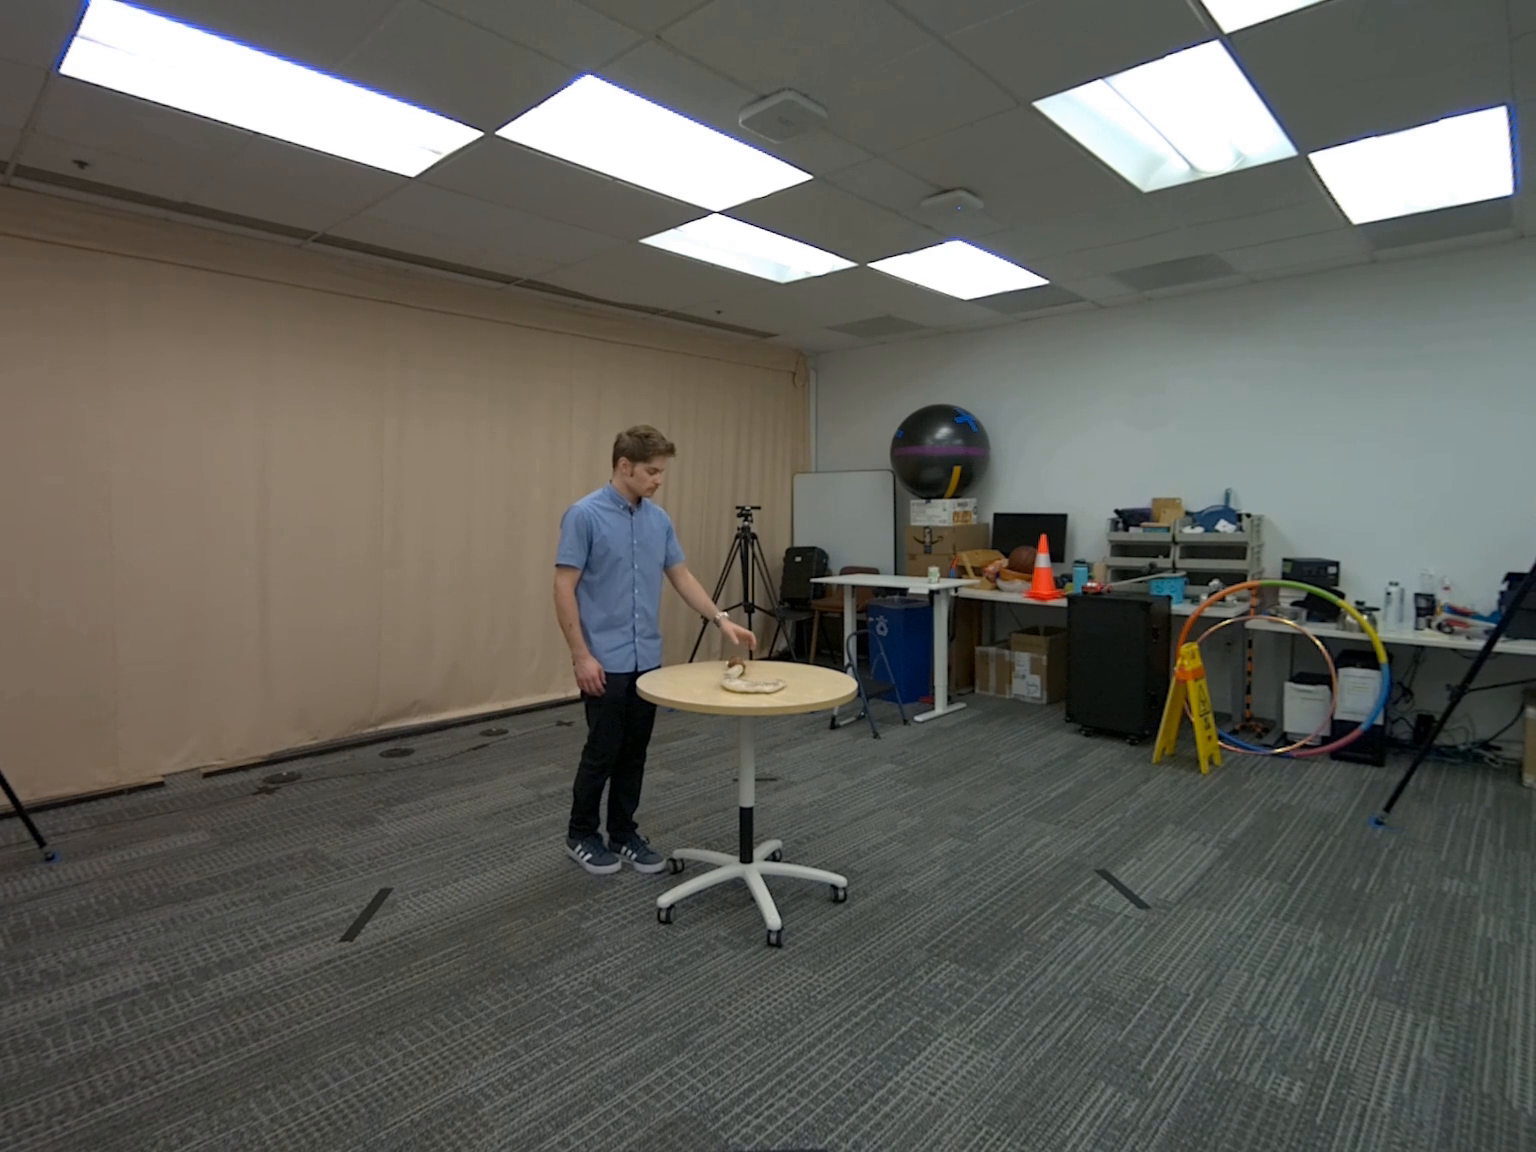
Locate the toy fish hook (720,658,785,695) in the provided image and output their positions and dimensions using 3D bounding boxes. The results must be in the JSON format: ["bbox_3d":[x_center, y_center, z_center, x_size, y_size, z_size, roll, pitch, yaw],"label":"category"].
[{"bbox_3d":[-0.057,0.348,2.971,0.225,0.048,0.508,8,6,-1],"label":"toy fish hook"}]
